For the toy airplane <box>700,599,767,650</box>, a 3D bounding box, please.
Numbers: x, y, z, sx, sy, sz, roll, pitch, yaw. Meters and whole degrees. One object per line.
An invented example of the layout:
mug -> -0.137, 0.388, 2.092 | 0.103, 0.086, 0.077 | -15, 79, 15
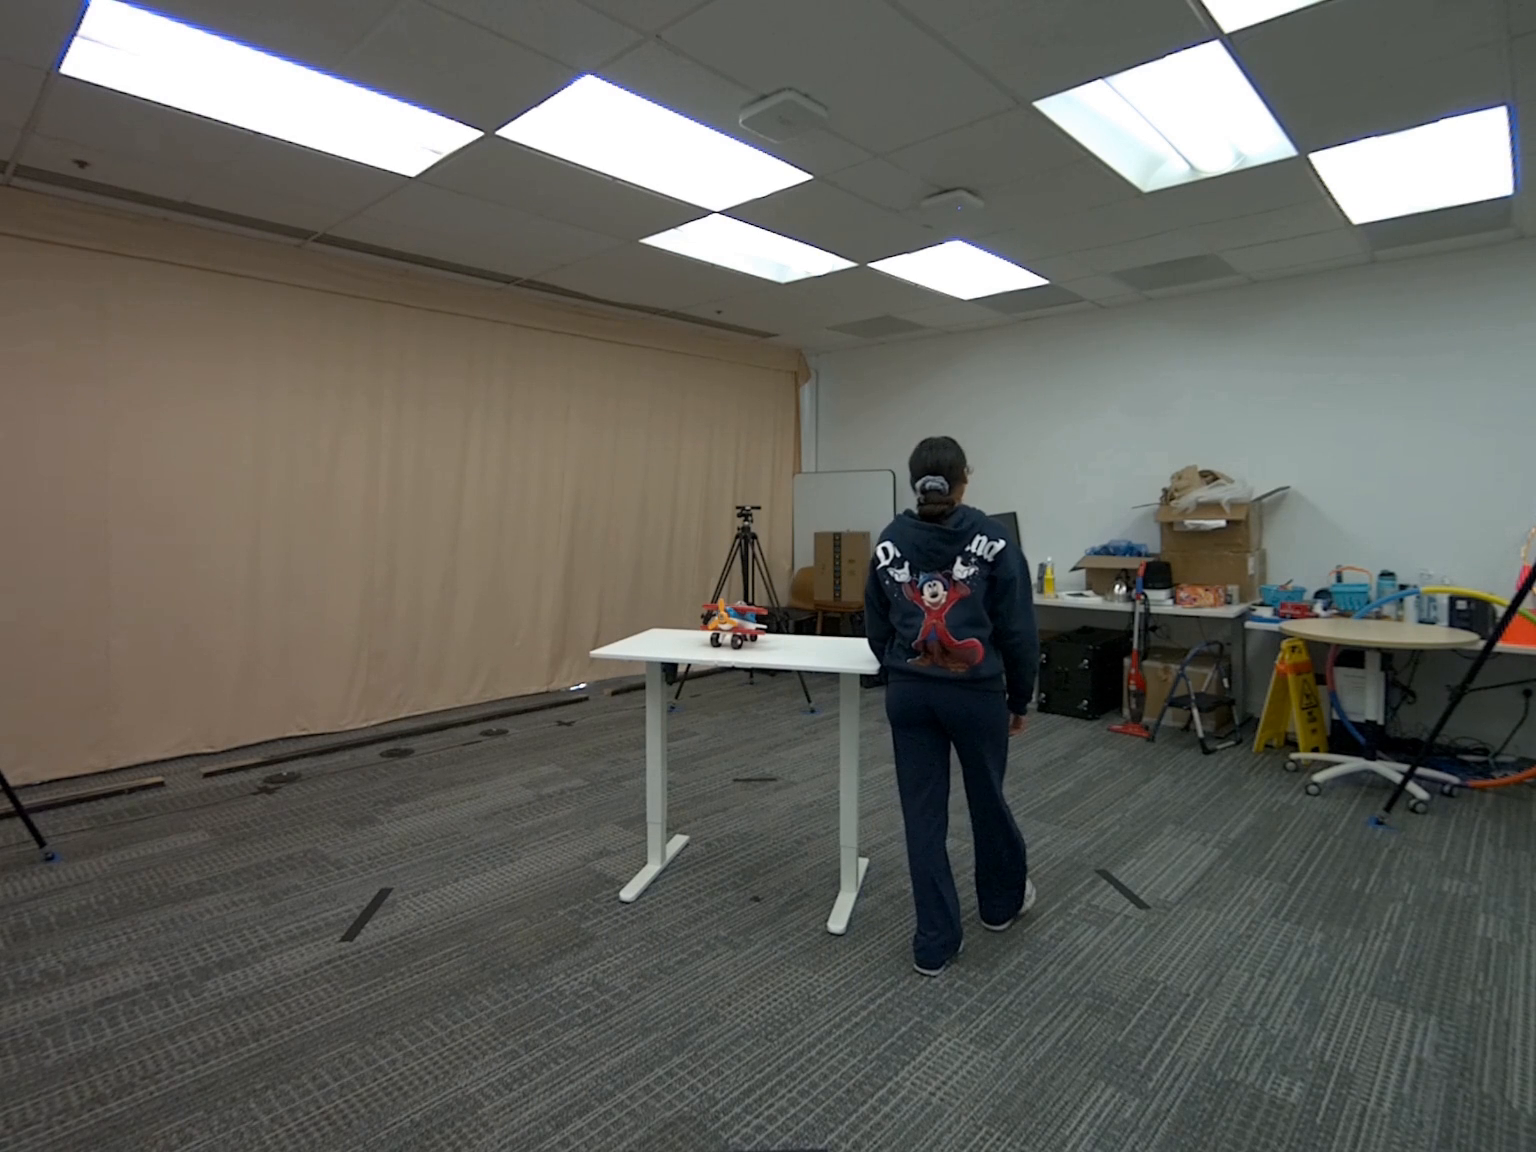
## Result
toy airplane -> -0.112, 0.177, 3.105 | 0.251, 0.156, 0.260 | 0, 5, 0
